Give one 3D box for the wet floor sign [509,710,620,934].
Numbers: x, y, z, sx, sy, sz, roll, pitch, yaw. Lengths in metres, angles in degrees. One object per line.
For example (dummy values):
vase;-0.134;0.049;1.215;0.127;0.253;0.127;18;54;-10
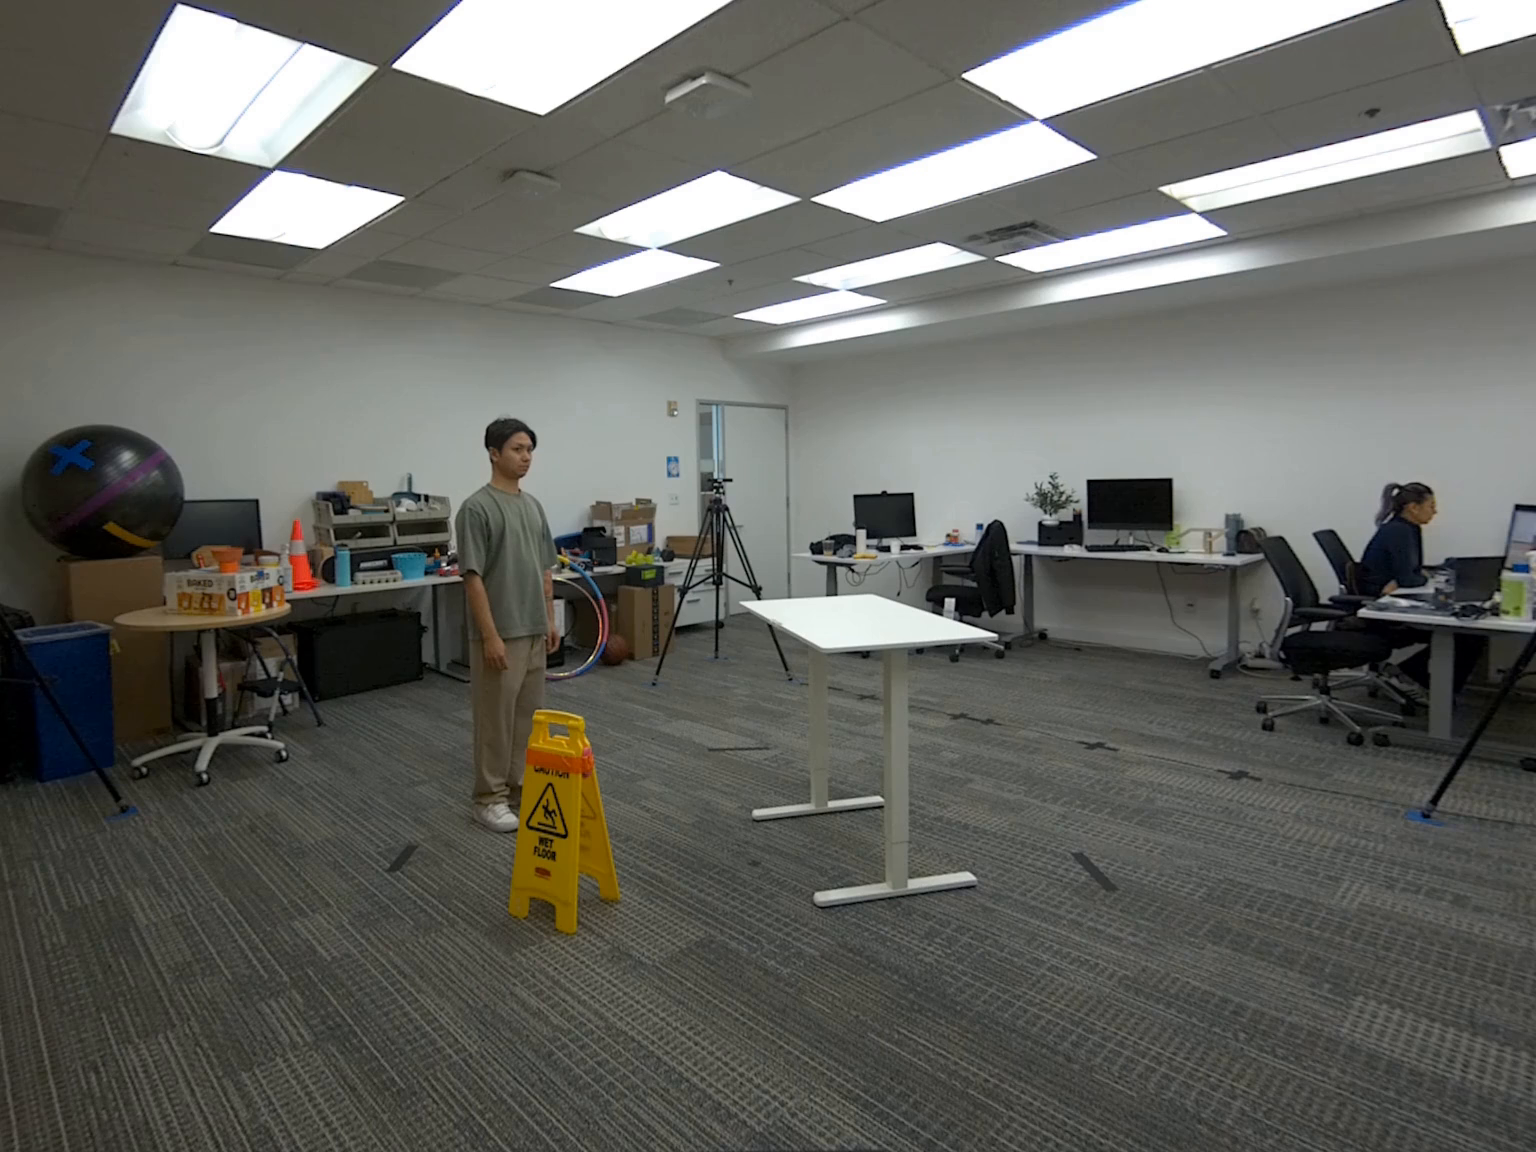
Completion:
wet floor sign;-0.672;0.770;2.787;0.289;0.643;0.284;0;5;28
